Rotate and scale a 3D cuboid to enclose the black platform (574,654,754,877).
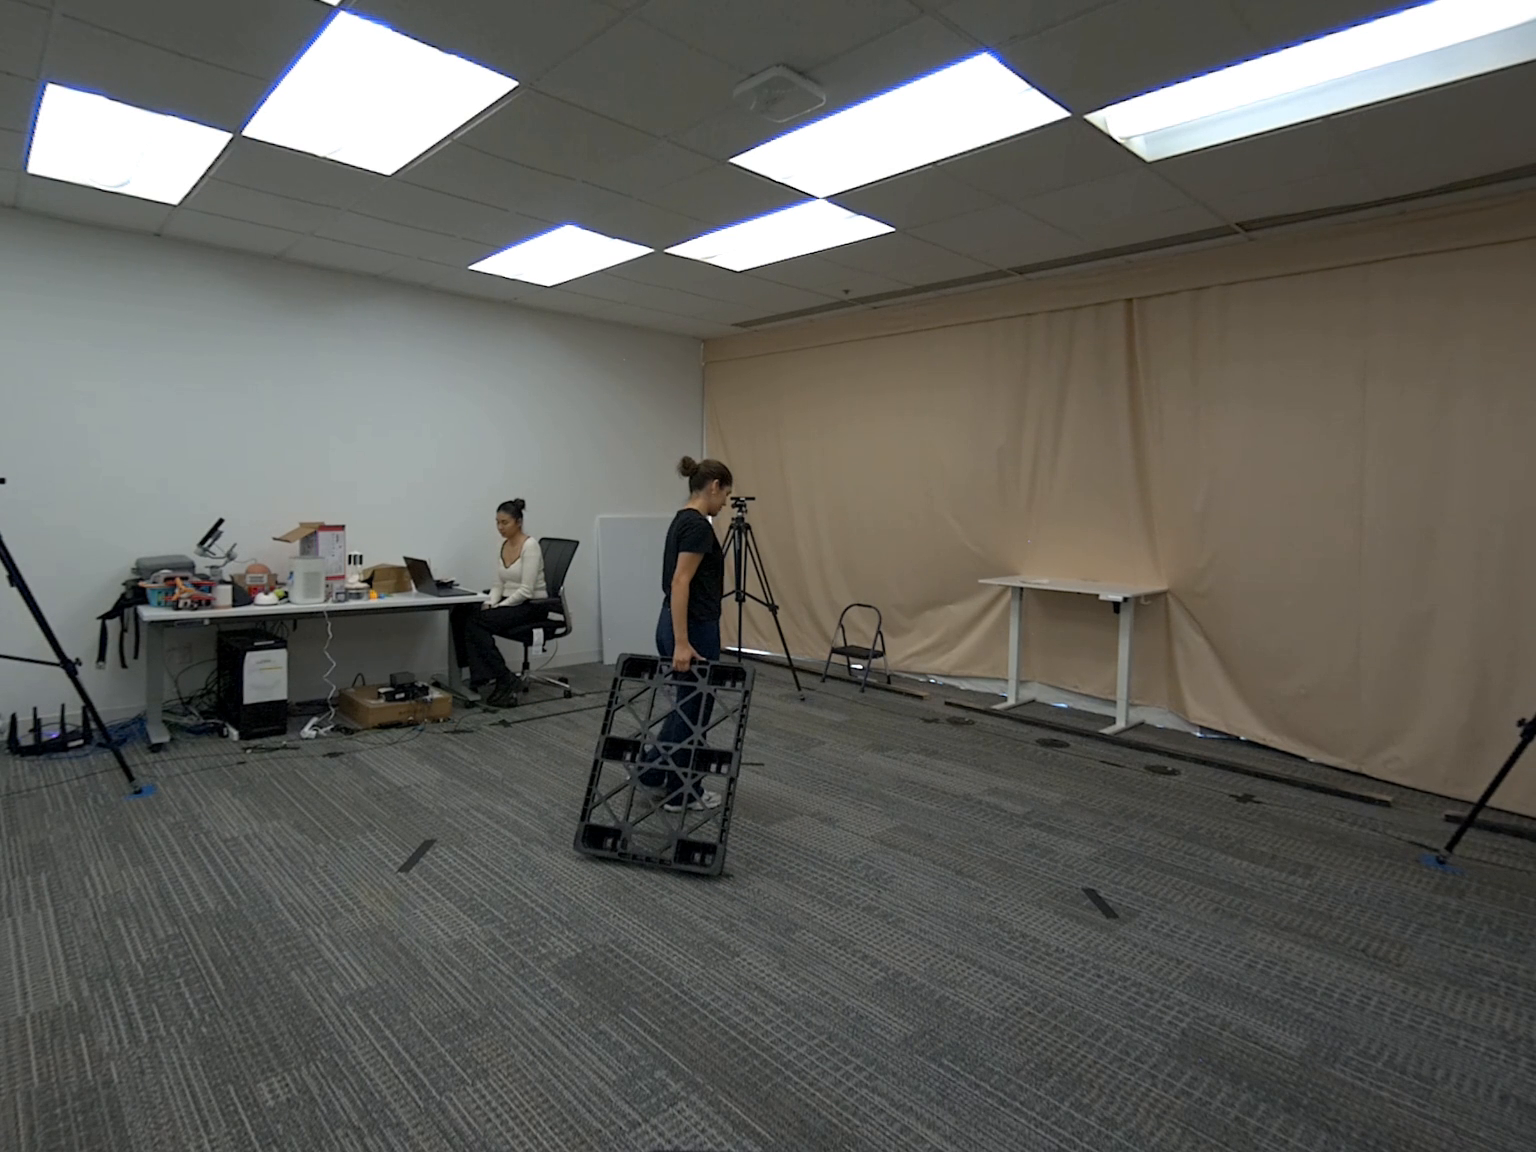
[{"bbox_3d":[-0.388,0.730,3.320,0.613,0.816,0.139,2,-25,17],"label":"black platform"}]
